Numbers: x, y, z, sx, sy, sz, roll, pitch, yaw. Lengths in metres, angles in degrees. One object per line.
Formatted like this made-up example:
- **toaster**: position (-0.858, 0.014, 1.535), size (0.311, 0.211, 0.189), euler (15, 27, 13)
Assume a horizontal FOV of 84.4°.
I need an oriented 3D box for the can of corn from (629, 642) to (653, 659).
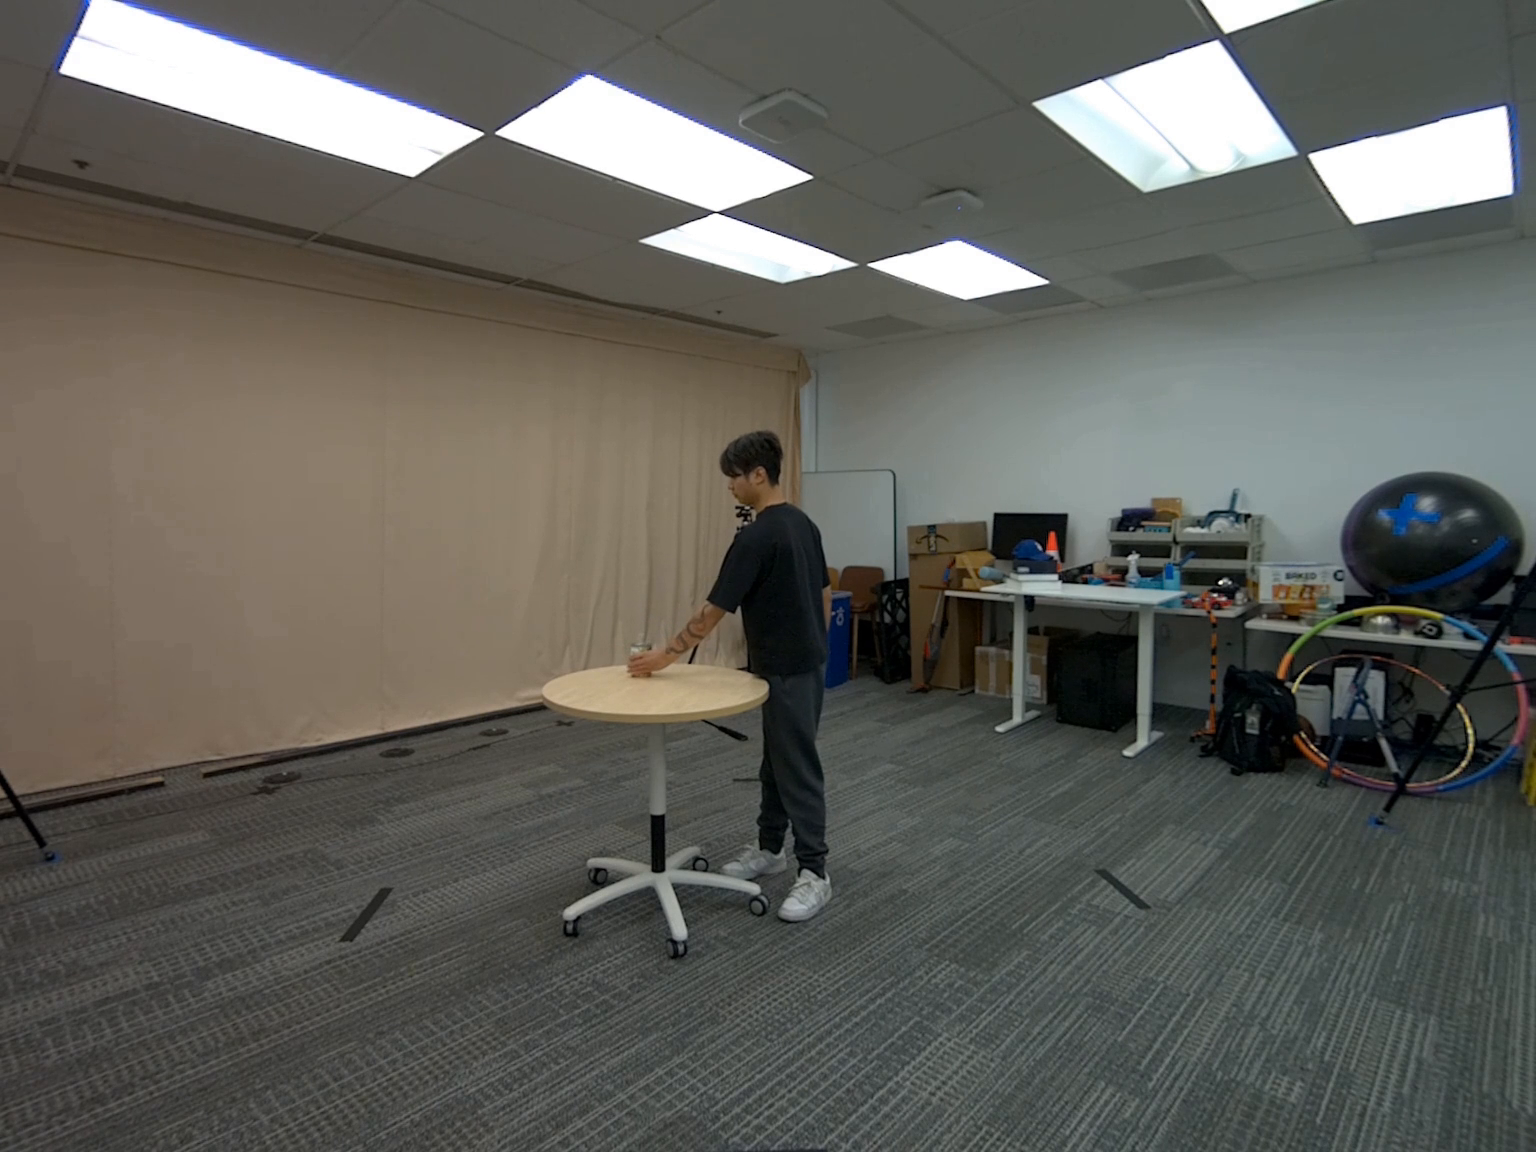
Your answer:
- **can of corn**: position (-0.452, 0.301, 3.032), size (0.074, 0.111, 0.074), euler (0, 2, -2)
